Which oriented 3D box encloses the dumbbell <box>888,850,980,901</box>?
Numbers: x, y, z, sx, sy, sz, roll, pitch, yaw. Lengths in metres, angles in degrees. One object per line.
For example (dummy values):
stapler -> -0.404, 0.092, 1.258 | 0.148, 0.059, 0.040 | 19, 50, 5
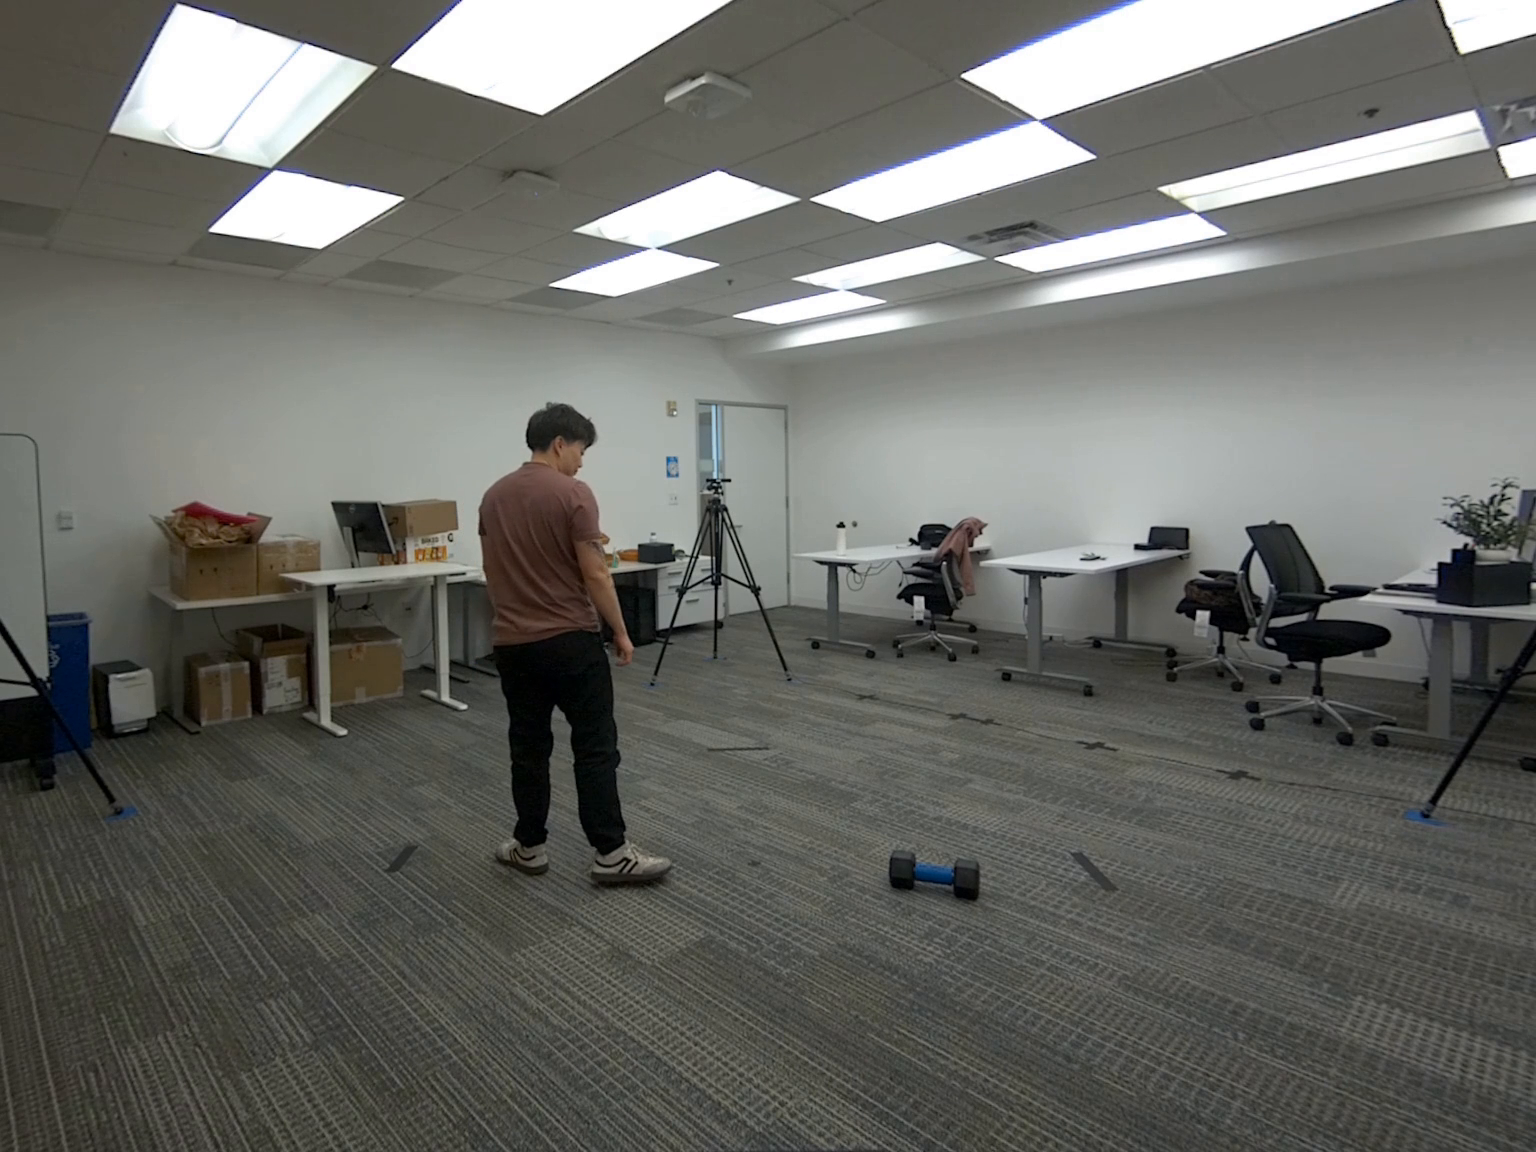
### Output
dumbbell -> 0.561, 0.999, 2.878 | 0.299, 0.119, 0.110 | 2, 34, 20
